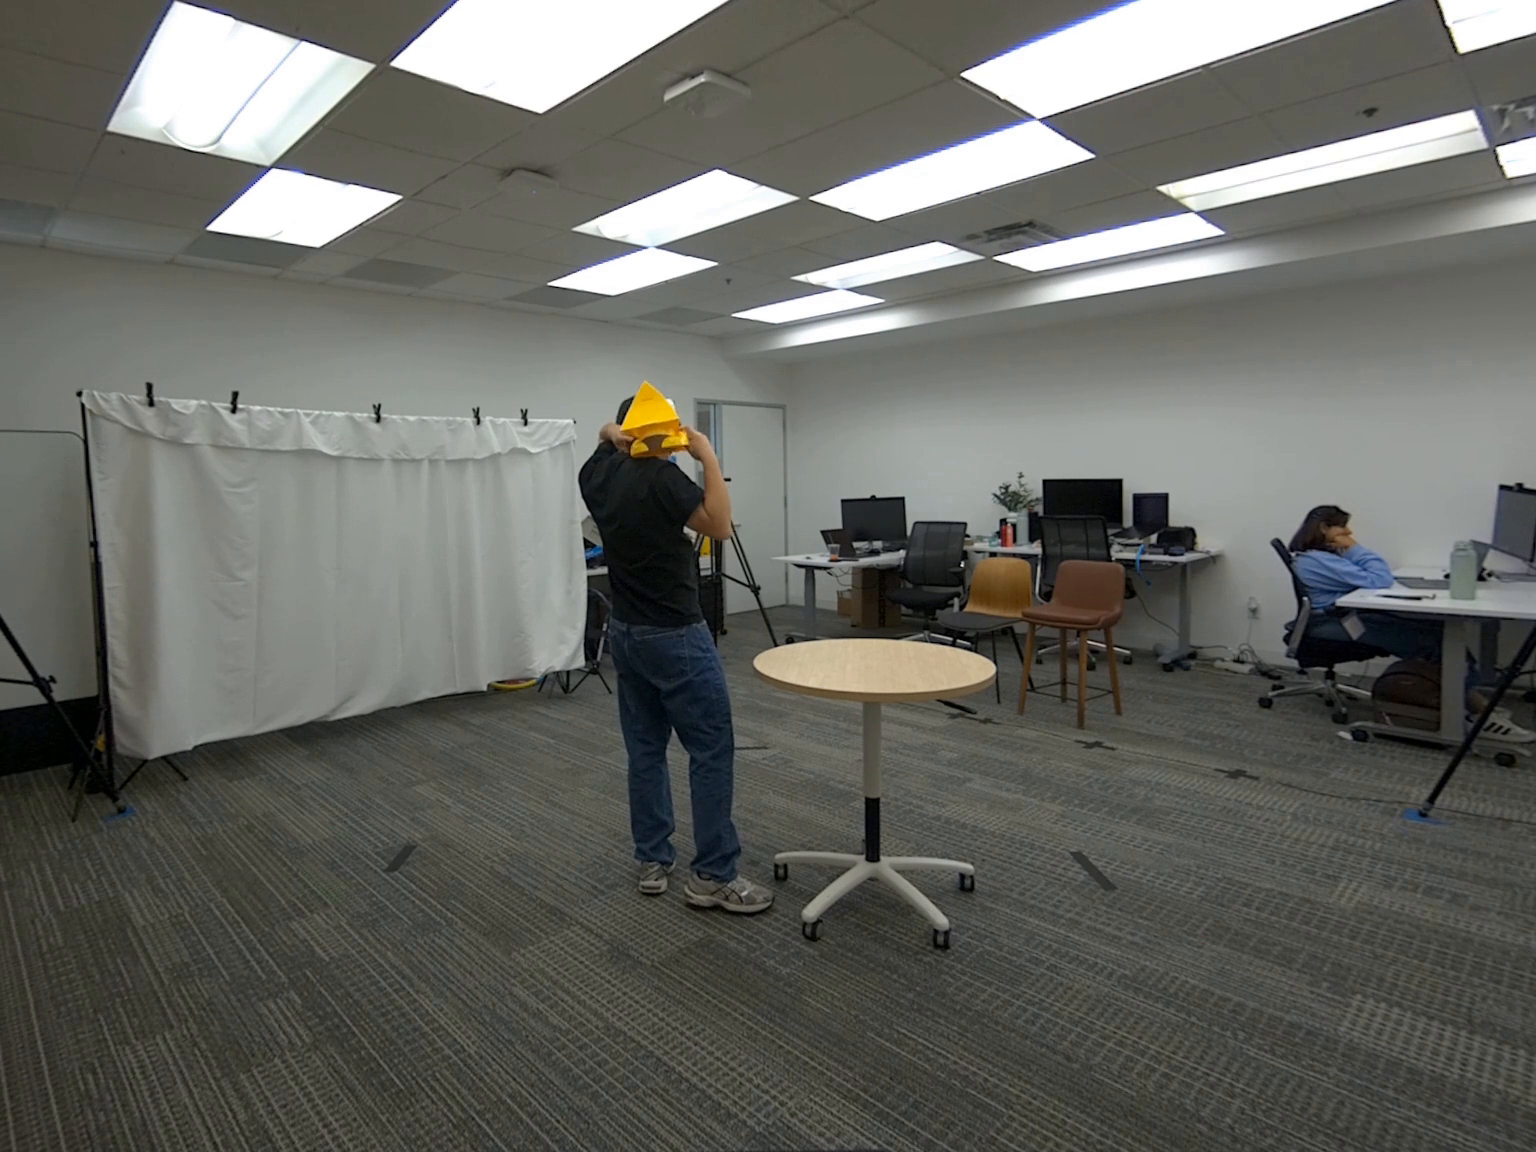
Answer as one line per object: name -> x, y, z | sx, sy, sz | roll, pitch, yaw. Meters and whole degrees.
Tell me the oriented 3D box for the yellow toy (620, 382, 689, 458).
yellow toy -> -0.374, -0.533, 2.871 | 0.206, 0.232, 0.190 | -9, -4, 10
